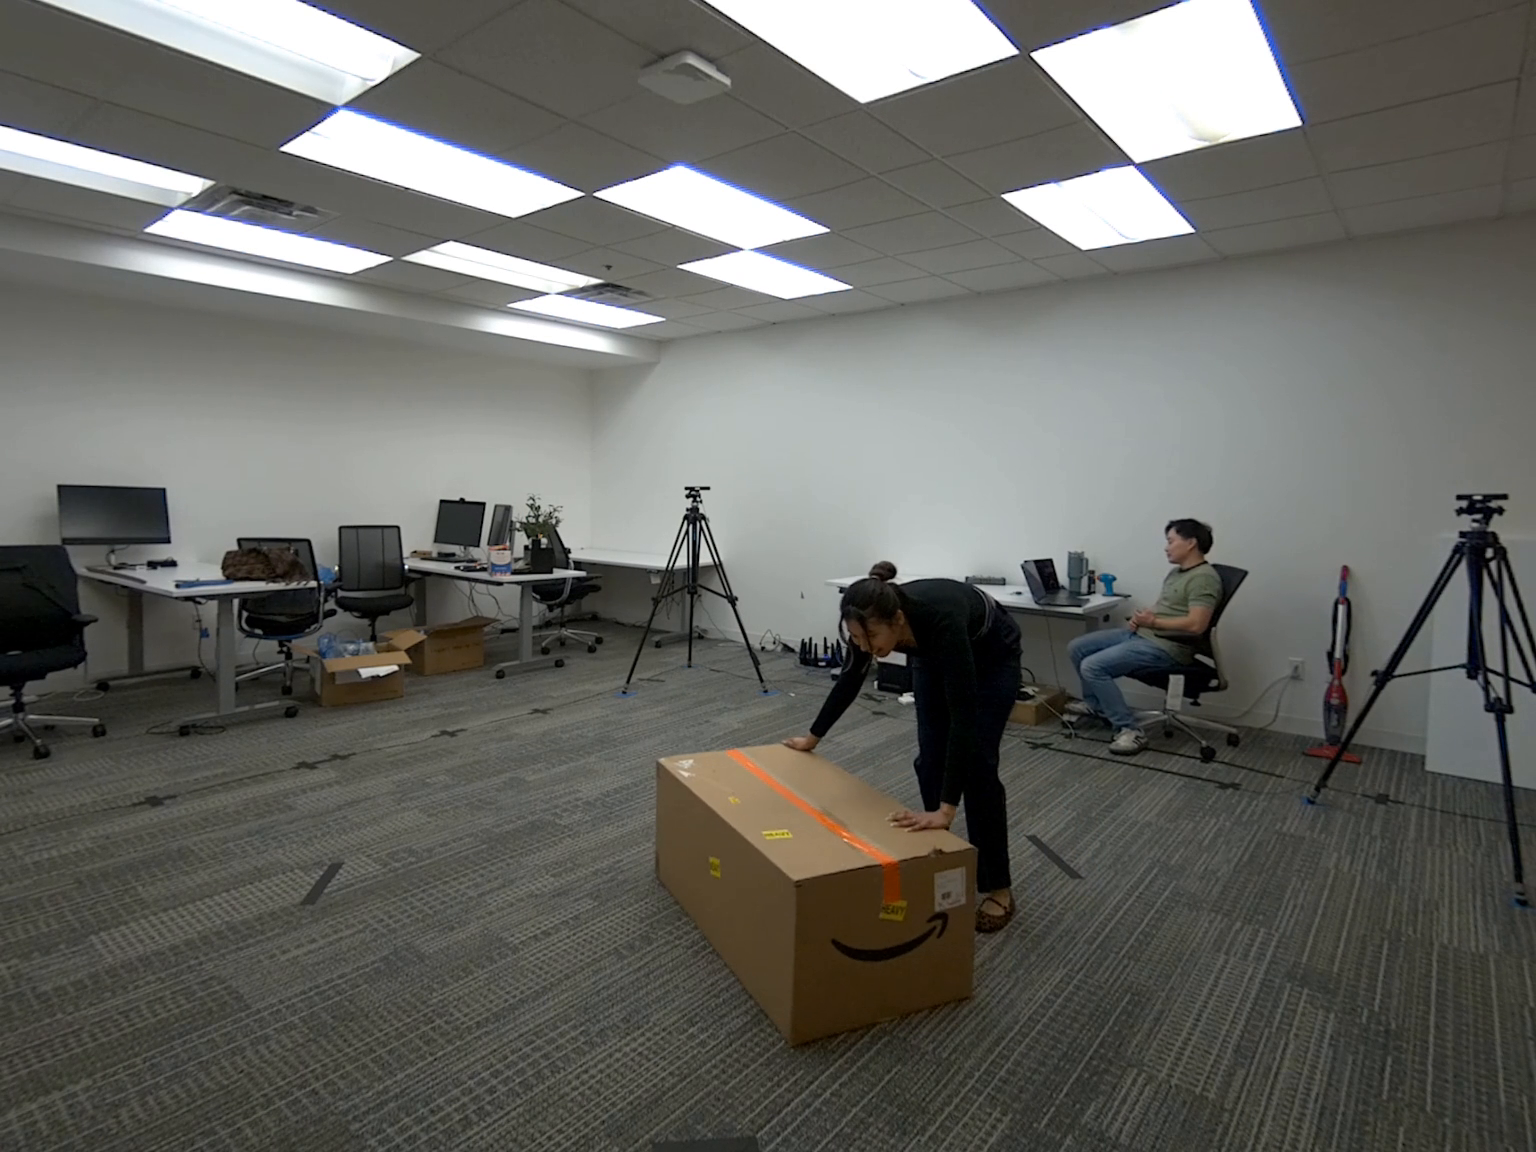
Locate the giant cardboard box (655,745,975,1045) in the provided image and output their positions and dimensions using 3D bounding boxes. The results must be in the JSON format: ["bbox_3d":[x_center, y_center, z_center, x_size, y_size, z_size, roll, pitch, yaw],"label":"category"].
[{"bbox_3d":[0.074,0.896,2.684,0.563,0.425,1.055,0,5,-26],"label":"giant cardboard box"}]
